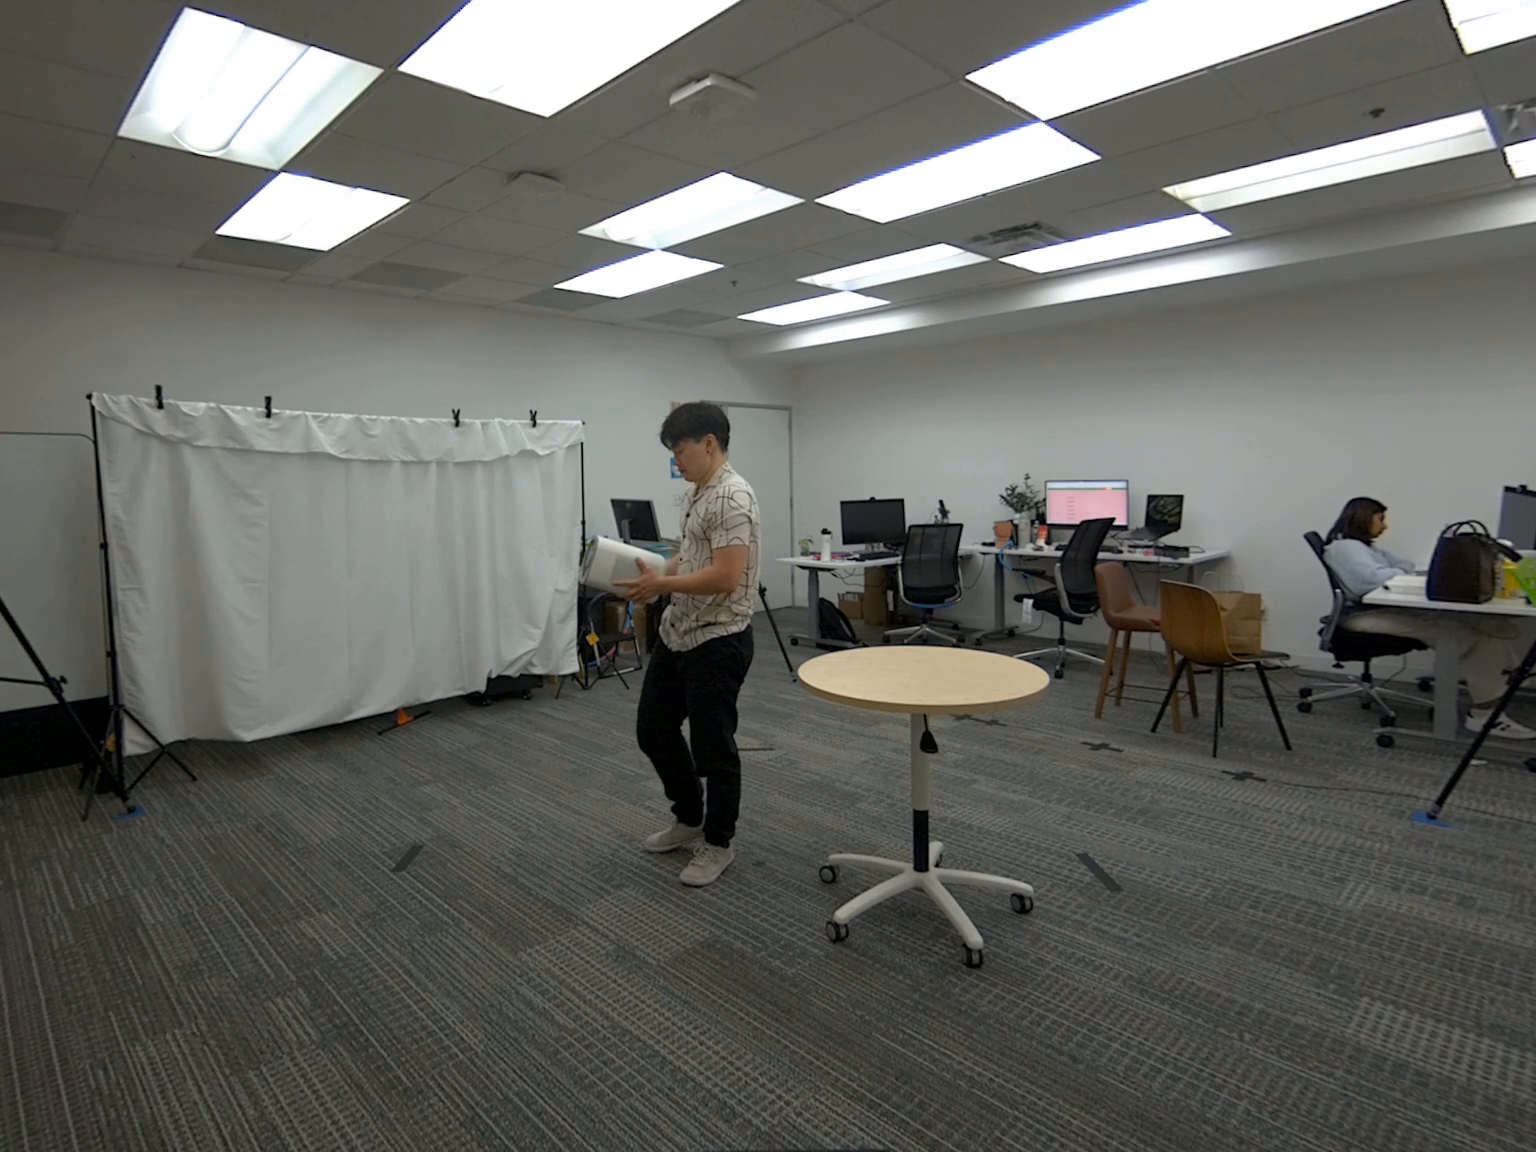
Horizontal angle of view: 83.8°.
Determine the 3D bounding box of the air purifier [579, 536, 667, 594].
[{"bbox_3d":[-0.495,-0.025,2.951,0.259,0.171,0.175,17,2,-20],"label":"air purifier"}]
